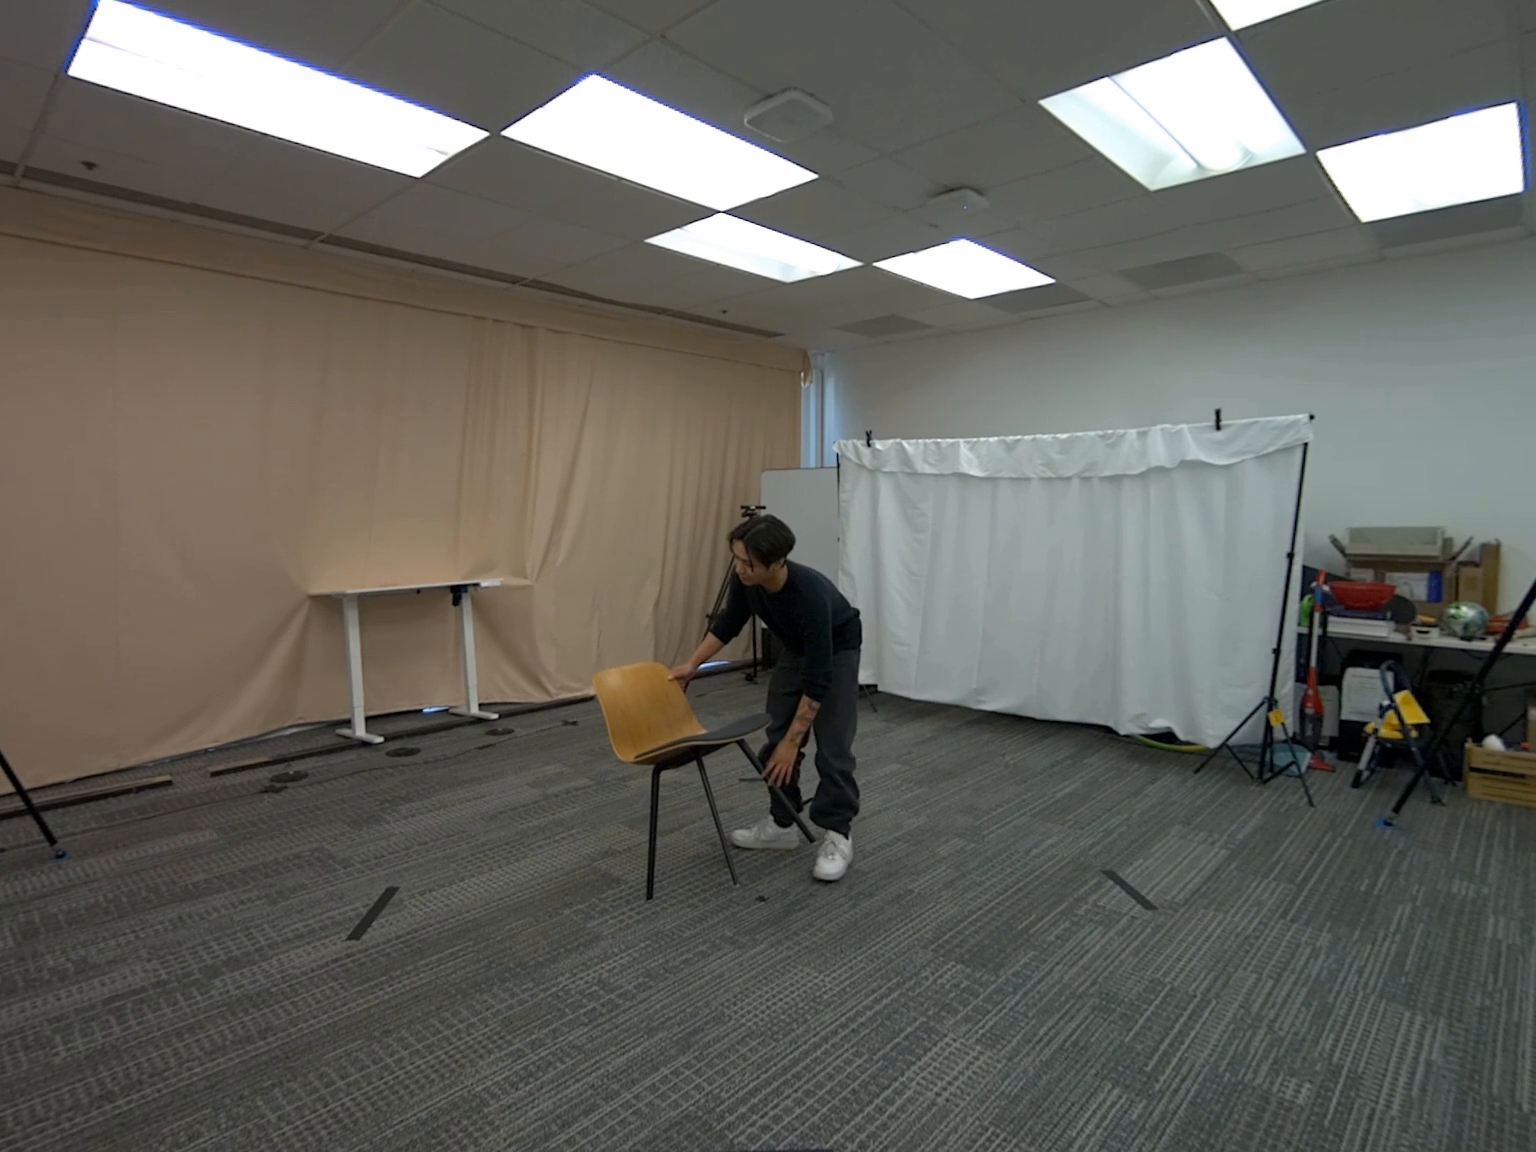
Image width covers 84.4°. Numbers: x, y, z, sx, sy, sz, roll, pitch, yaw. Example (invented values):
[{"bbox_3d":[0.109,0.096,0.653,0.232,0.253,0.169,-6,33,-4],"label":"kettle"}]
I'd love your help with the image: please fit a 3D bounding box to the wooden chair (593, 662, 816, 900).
[{"bbox_3d":[-0.251,0.653,3.082,0.531,0.891,0.463,-34,-19,36],"label":"wooden chair"}]
